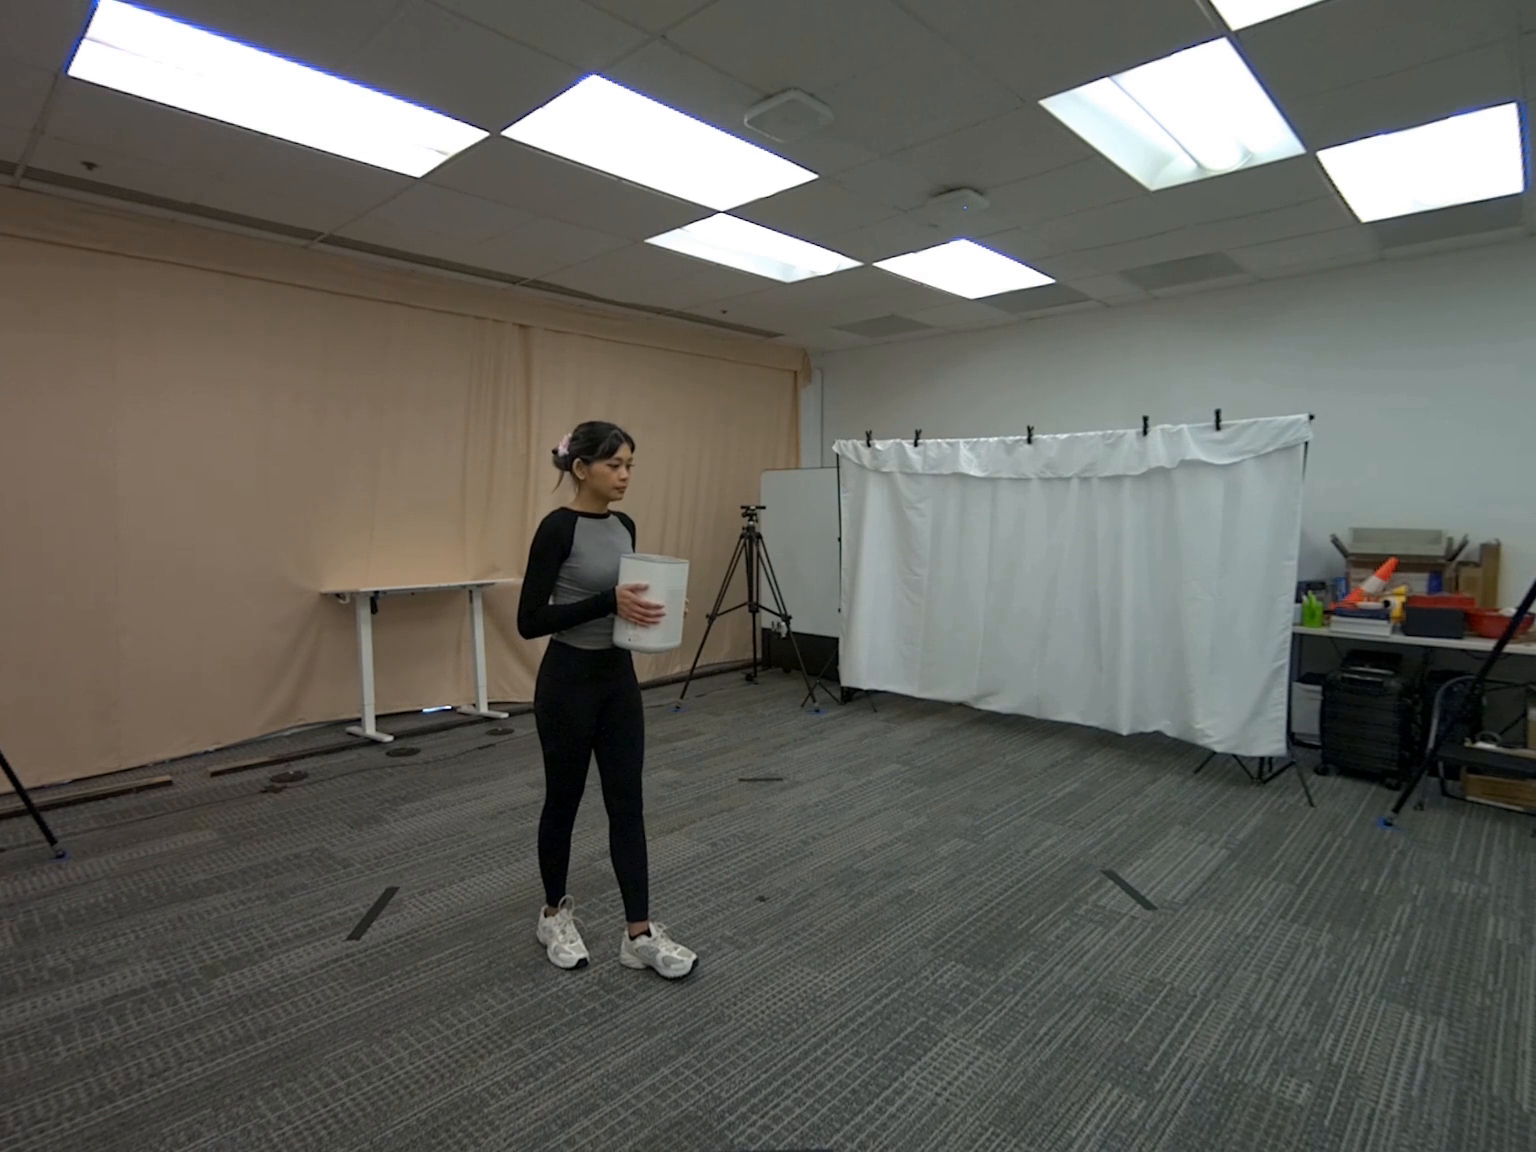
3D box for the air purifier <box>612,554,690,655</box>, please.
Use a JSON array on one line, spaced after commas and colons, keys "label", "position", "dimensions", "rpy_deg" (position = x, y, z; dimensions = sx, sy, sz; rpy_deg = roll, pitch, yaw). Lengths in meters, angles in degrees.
[{"label": "air purifier", "position": [-0.338, 0.080, 2.410], "dimensions": [0.176, 0.265, 0.167], "rpy_deg": [8, 5, 25]}]
